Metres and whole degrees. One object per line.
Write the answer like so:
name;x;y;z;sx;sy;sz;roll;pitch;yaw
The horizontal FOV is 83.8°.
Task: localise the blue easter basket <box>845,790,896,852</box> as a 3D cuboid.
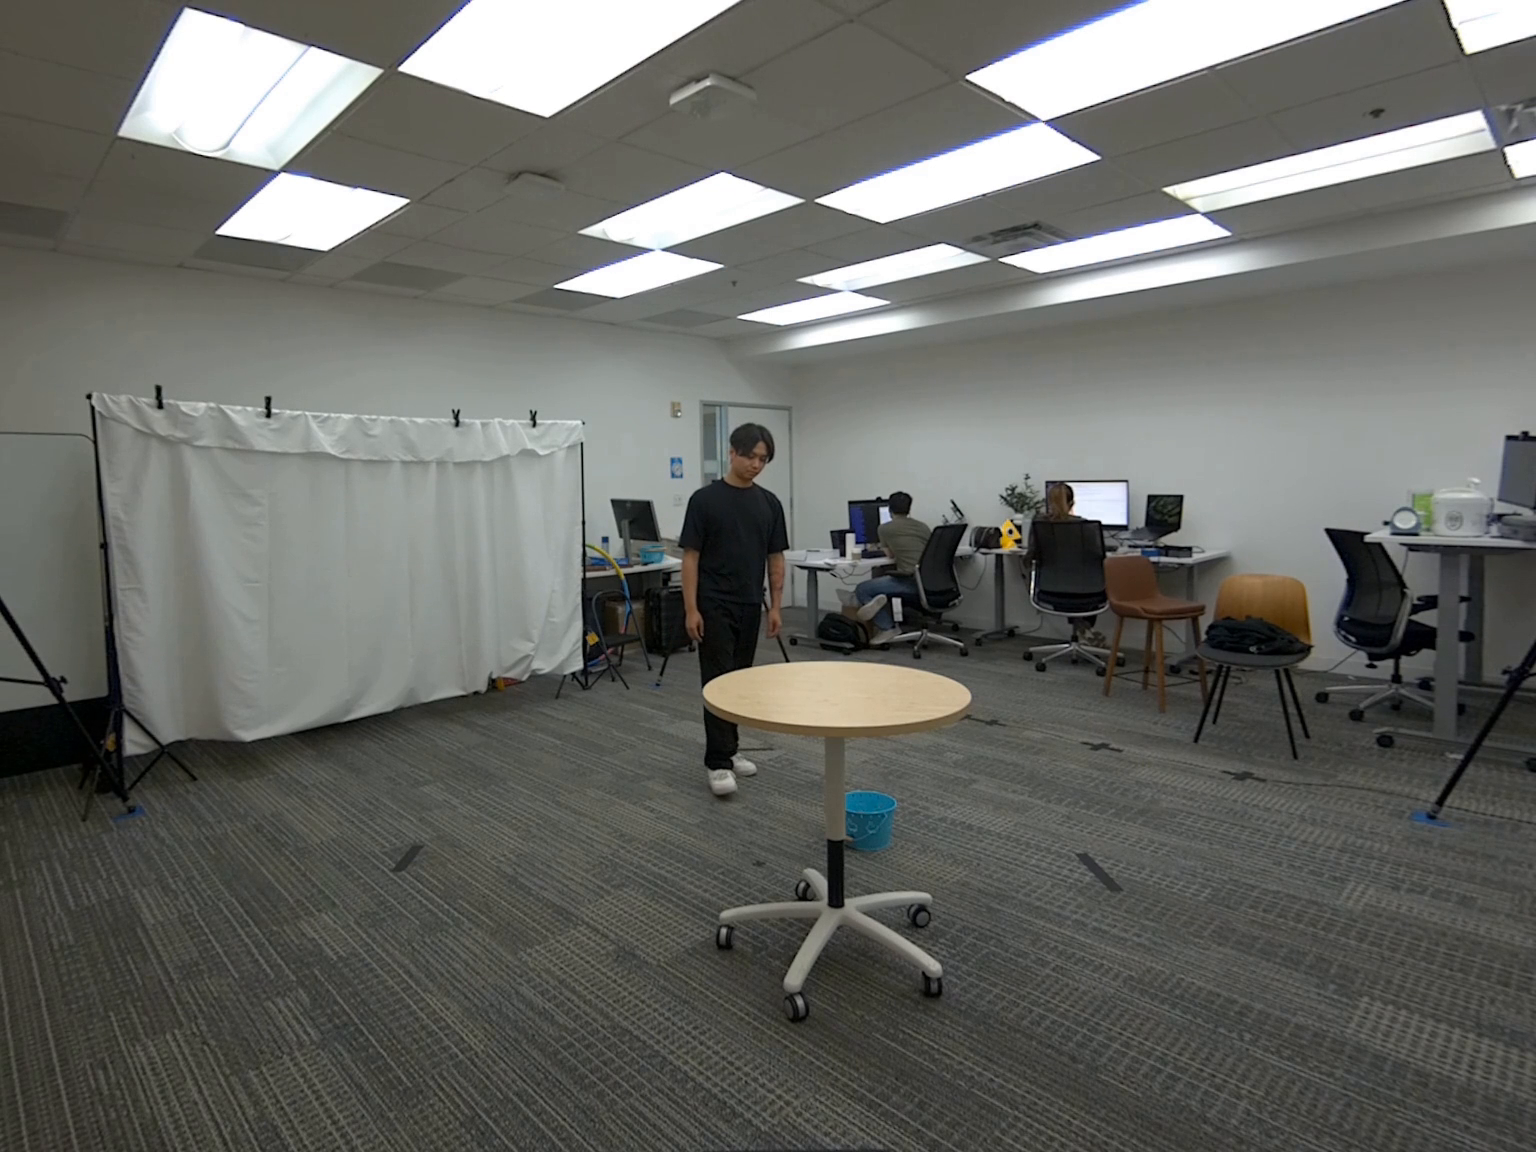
blue easter basket;0.375;0.940;3.291;0.243;0.155;0.245;-2;5;-2
